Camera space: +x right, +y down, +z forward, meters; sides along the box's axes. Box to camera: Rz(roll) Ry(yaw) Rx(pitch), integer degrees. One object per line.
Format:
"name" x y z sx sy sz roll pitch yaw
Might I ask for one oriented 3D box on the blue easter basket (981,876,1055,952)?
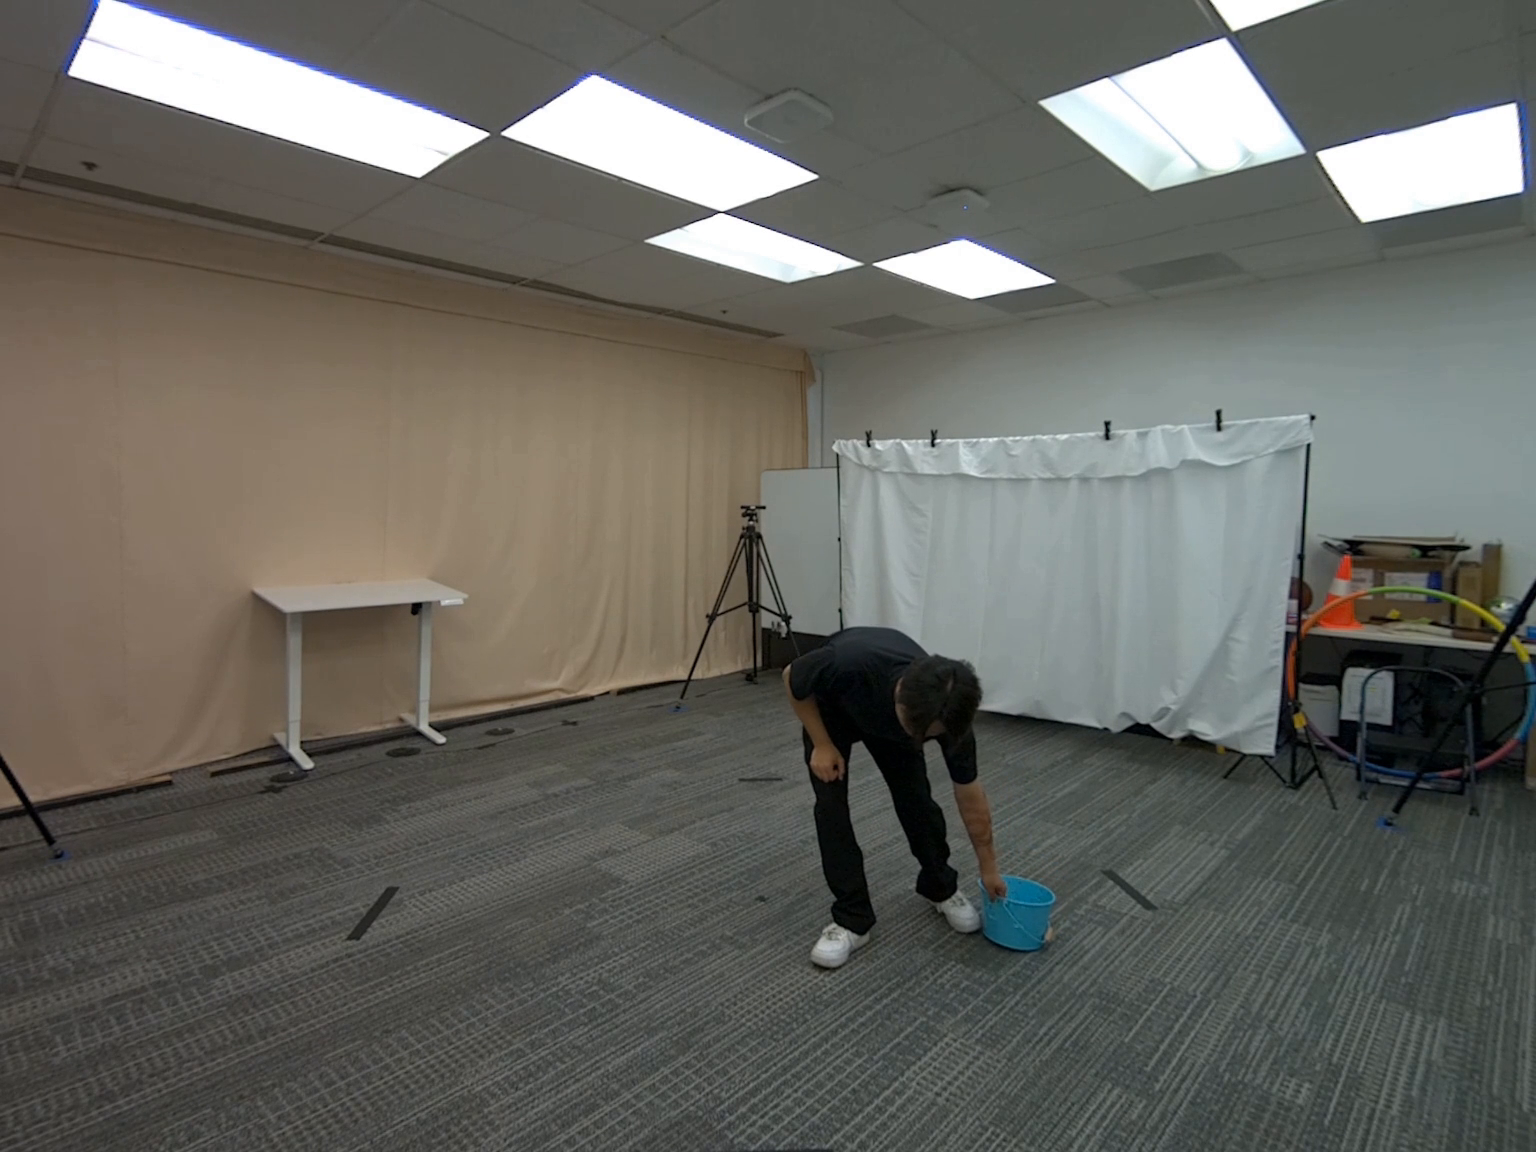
"blue easter basket" 0.798 1.086 2.689 0.243 0.156 0.244 3 3 -2
